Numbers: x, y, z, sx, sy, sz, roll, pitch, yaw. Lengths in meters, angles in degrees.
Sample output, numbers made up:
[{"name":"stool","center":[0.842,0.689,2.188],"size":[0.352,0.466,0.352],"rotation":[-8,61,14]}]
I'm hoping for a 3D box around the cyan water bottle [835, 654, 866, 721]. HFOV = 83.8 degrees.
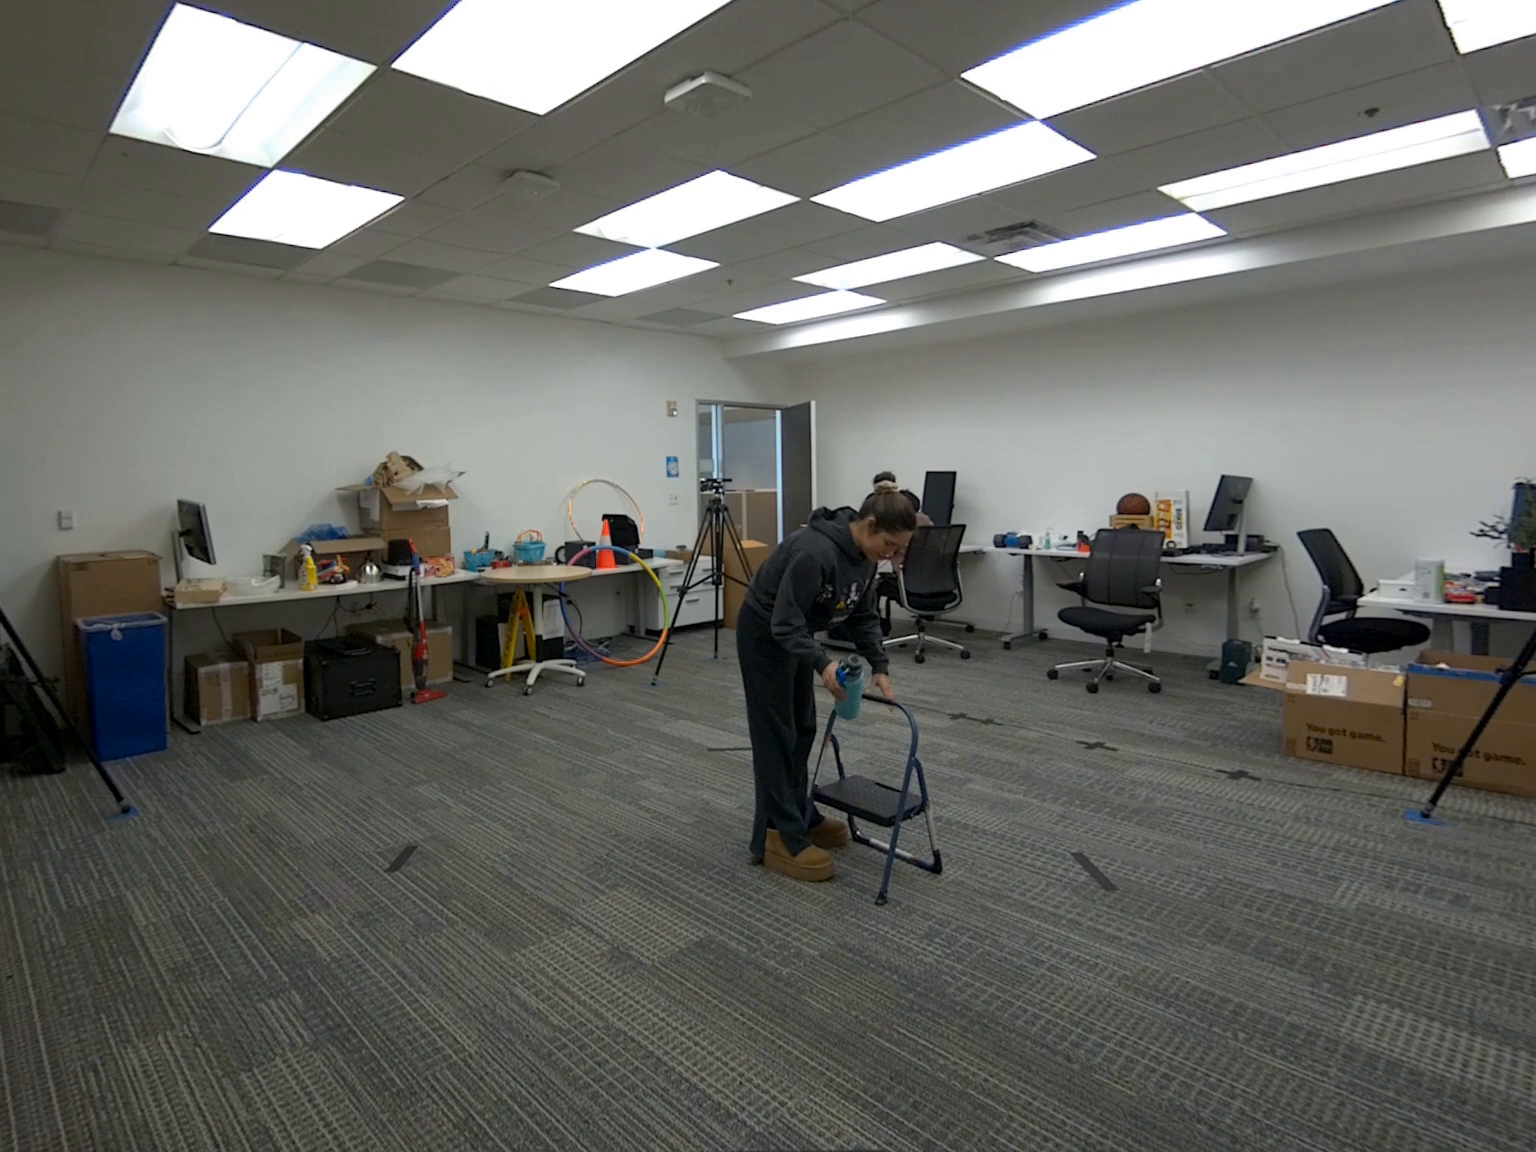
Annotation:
[{"name":"cyan water bottle","center":[0.288,0.373,2.868],"size":[0.092,0.095,0.275],"rotation":[-3,-41,2]}]
